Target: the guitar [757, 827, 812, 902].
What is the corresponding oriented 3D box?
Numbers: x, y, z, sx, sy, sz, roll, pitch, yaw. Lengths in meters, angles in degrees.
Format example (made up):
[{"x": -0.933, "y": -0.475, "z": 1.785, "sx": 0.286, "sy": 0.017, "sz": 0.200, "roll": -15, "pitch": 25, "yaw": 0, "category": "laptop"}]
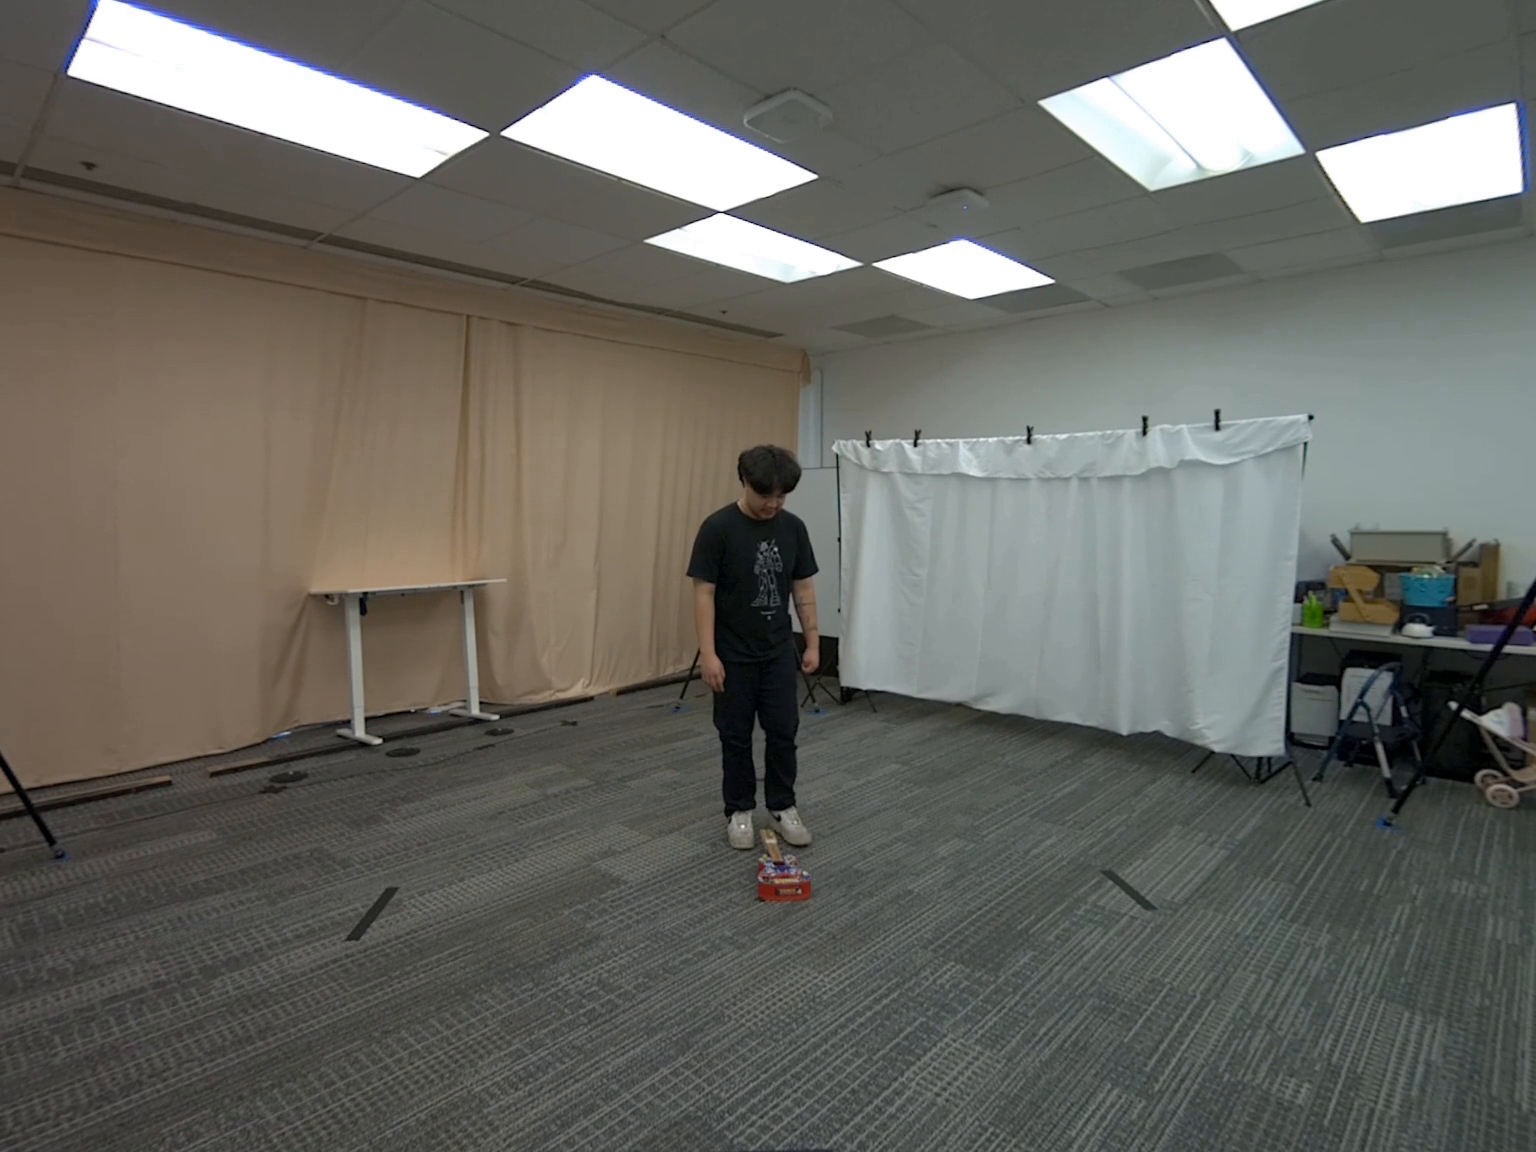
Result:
[{"x": 0.059, "y": 1.085, "z": 3.210, "sx": 0.193, "sy": 0.070, "sz": 0.498, "roll": -1, "pitch": 6, "yaw": 1, "category": "guitar"}]
